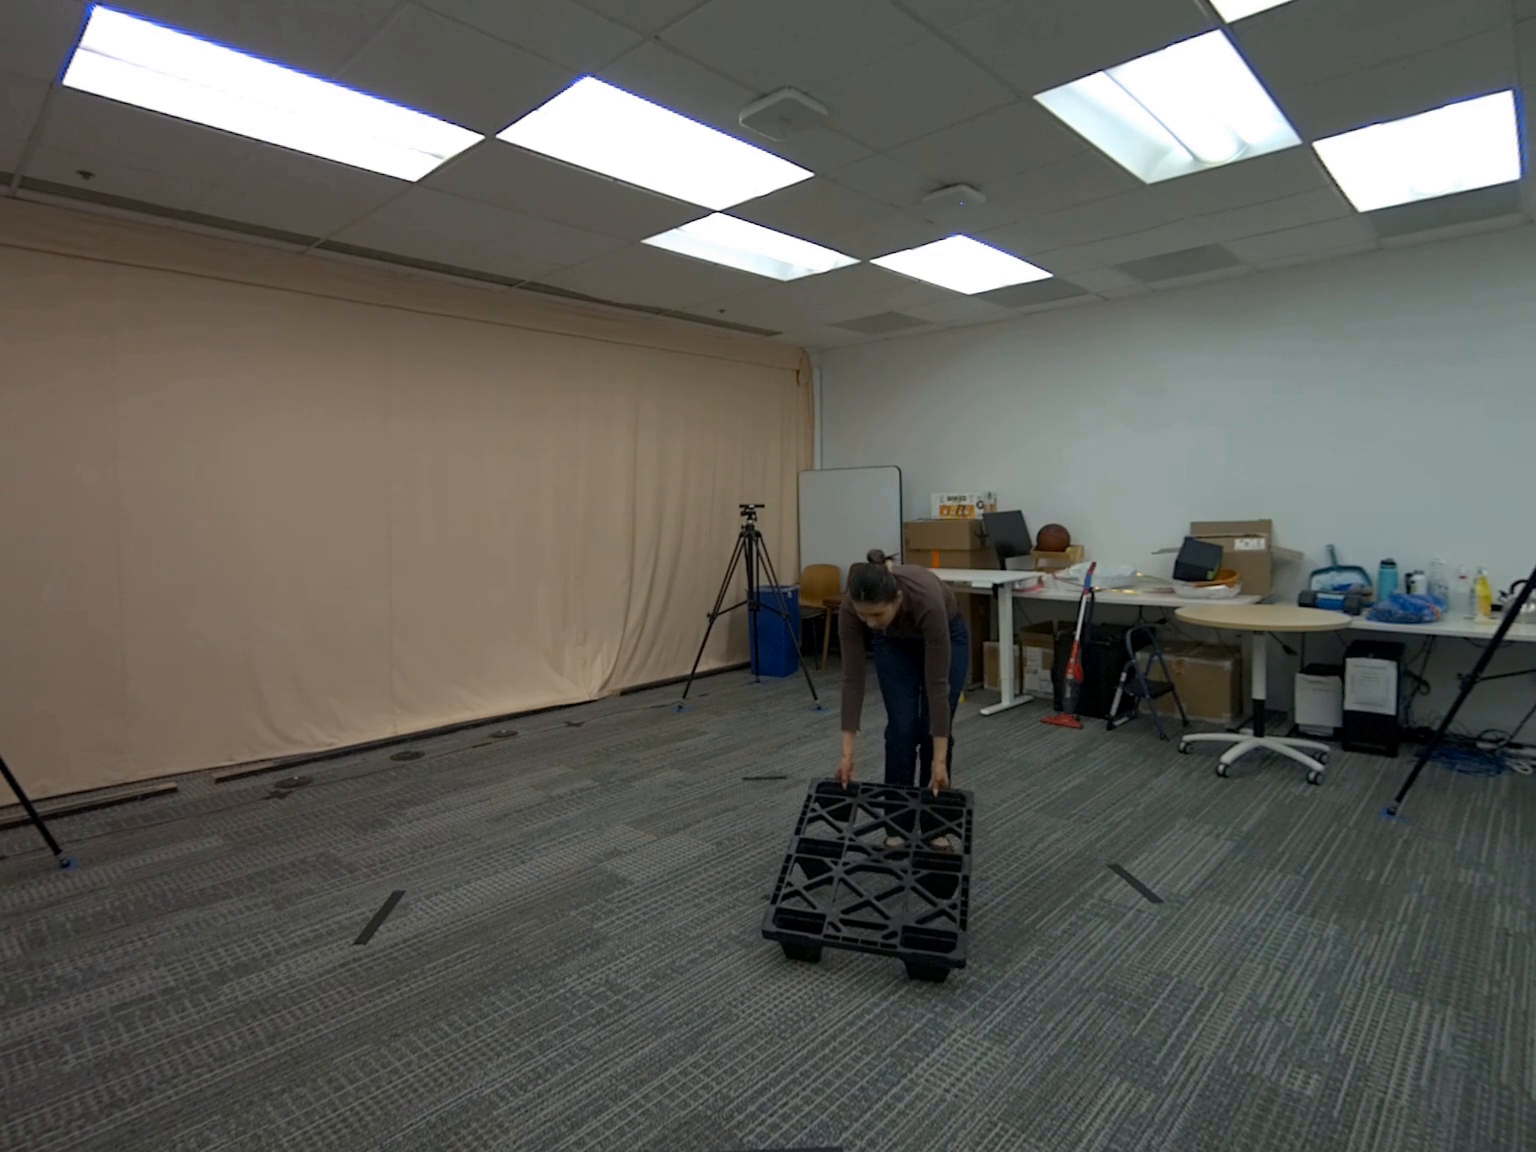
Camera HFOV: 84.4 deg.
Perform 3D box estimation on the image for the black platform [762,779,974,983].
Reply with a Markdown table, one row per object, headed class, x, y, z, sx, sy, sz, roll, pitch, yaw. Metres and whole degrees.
| class | x | y | z | sx | sy | sz | roll | pitch | yaw |
| --- | --- | --- | --- | --- | --- | --- | --- | --- | --- |
| black platform | 0.377 | 0.983 | 2.812 | 0.617 | 0.141 | 0.802 | 1 | 22 | 17 |
